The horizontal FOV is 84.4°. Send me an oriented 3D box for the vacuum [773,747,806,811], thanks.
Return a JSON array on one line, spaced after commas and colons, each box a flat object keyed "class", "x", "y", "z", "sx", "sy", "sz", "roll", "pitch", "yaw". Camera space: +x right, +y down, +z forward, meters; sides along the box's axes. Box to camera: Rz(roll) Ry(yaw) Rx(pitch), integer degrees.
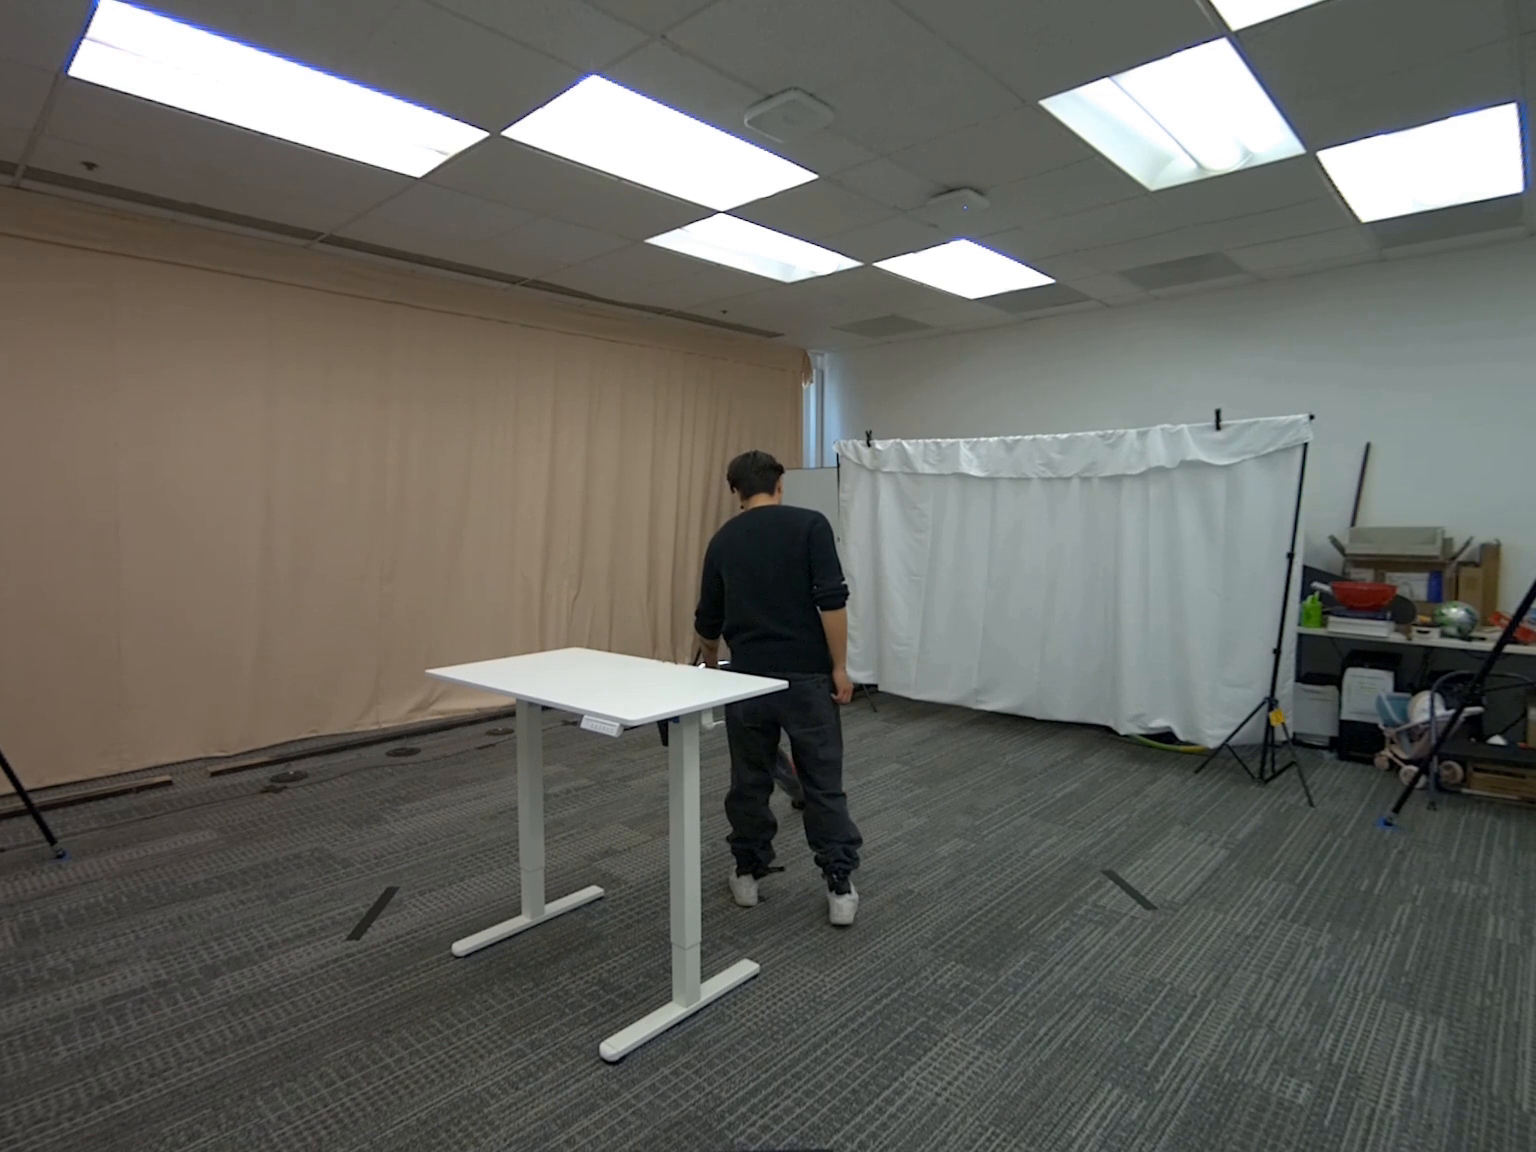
[{"class": "vacuum", "x": -0.004, "y": 0.740, "z": 3.559, "sx": 0.259, "sy": 0.145, "sz": 1.014, "roll": -1, "pitch": -38, "yaw": 29}]
